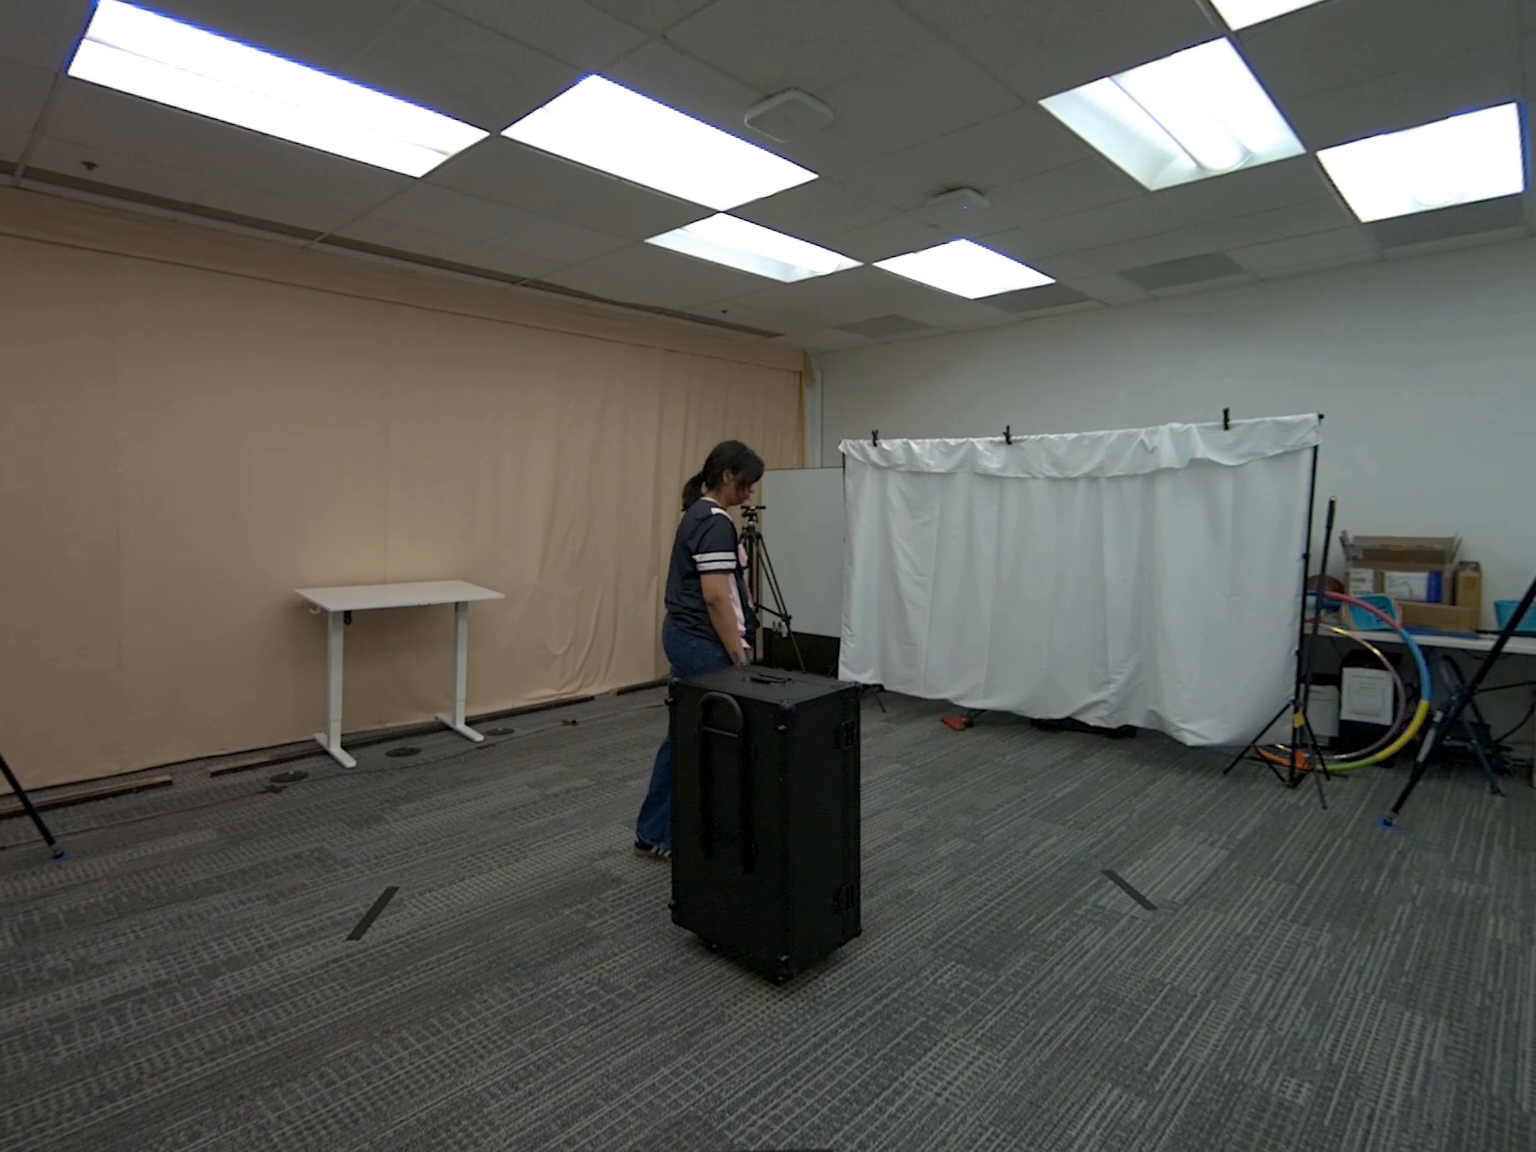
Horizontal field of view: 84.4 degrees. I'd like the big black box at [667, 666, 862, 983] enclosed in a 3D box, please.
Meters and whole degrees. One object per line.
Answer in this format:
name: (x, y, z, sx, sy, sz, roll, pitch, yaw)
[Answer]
big black box: (-0.004, 0.755, 2.593, 0.538, 0.859, 0.384, 3, 6, 41)
